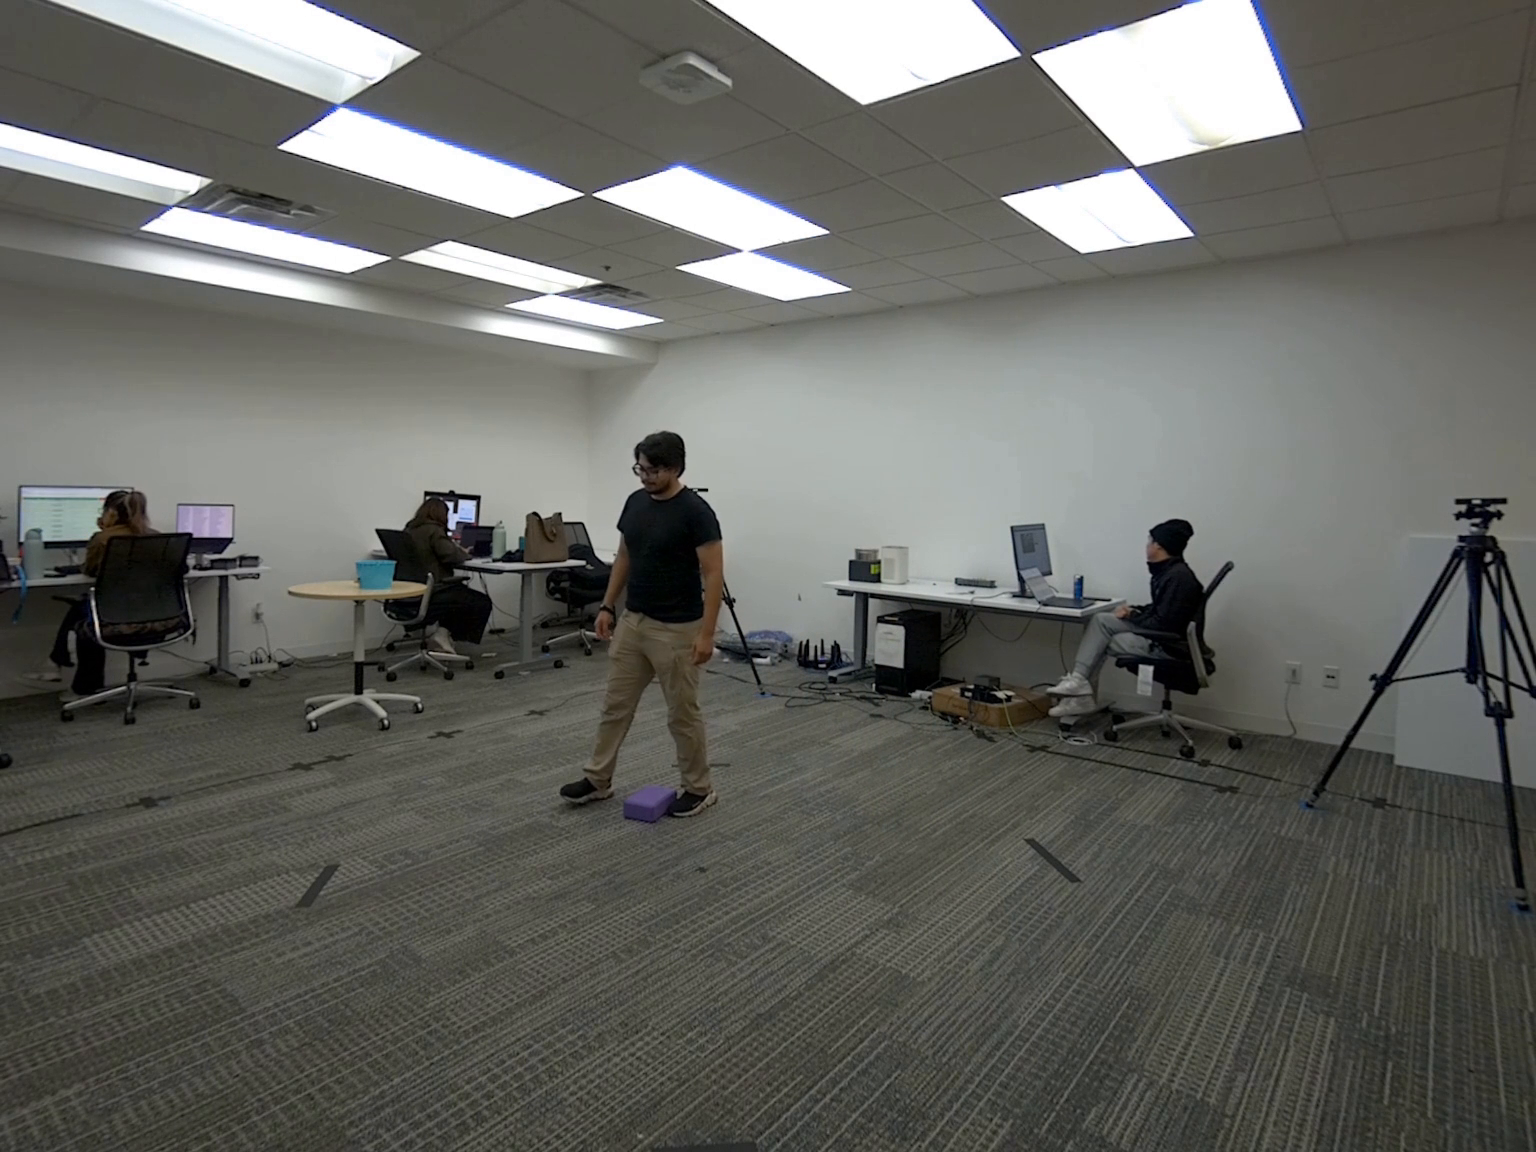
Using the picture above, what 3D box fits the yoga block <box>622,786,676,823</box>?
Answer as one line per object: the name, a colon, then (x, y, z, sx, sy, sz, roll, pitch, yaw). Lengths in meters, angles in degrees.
yoga block: (-0.514, 0.971, 3.655, 0.152, 0.076, 0.225, 3, 7, 22)
